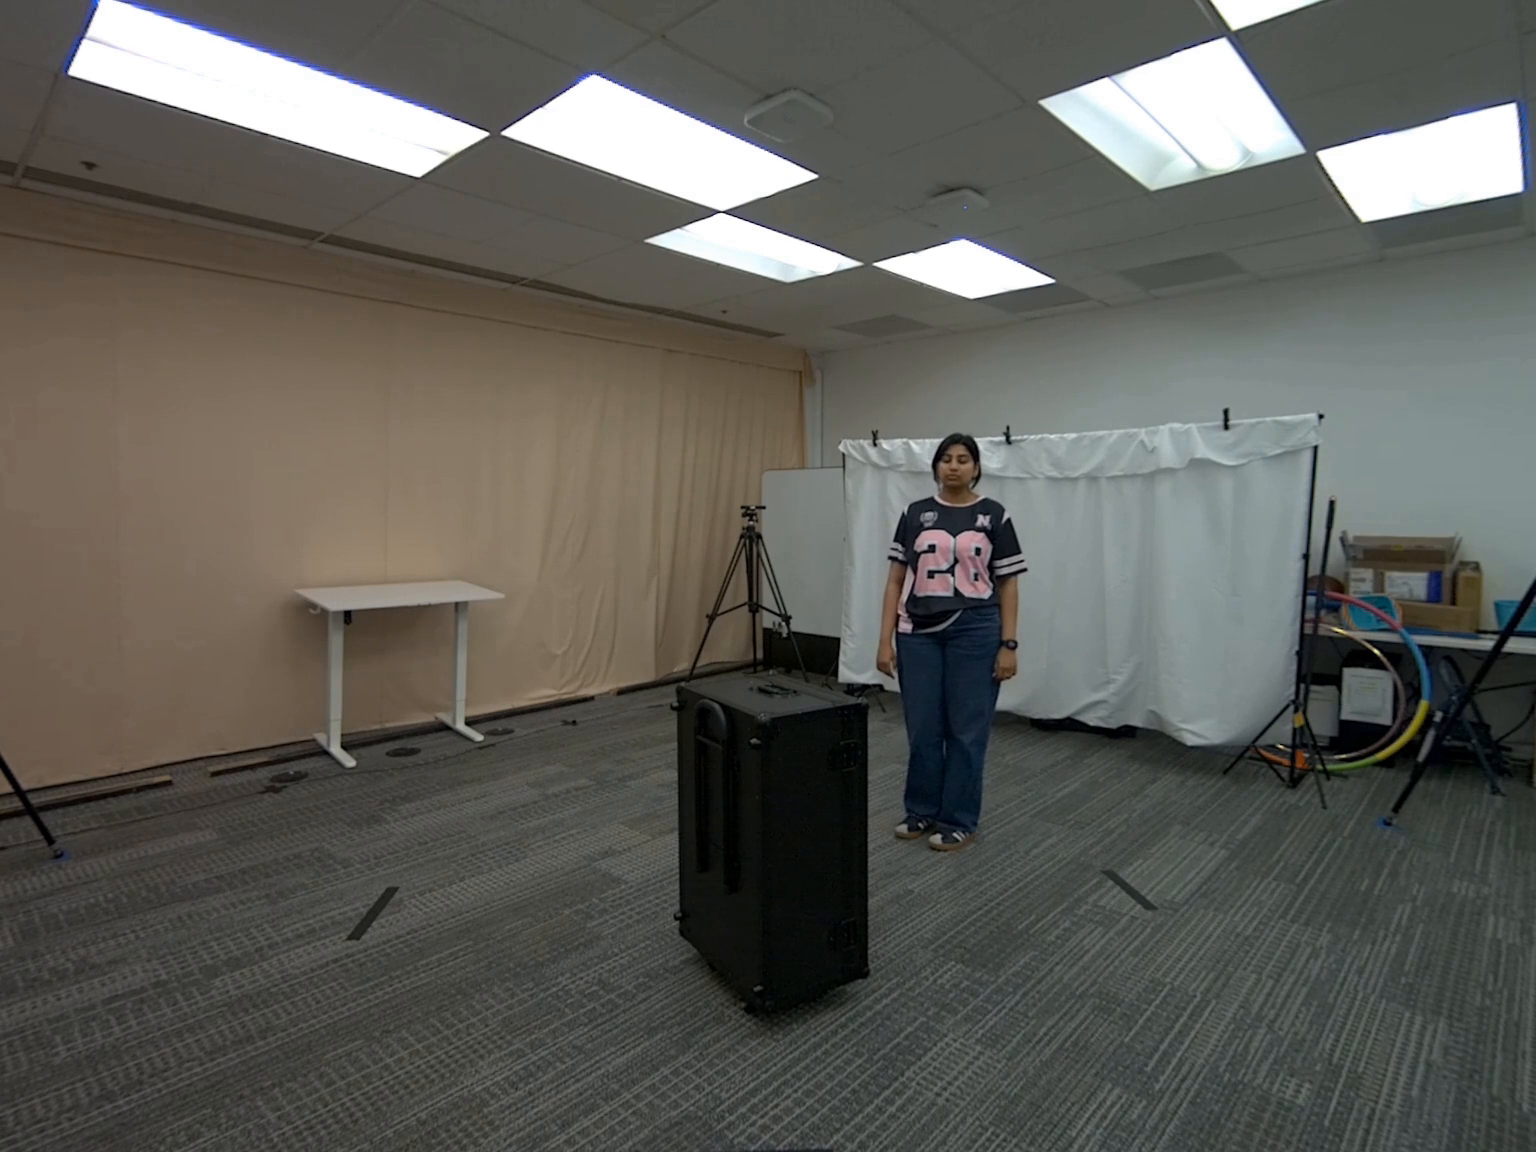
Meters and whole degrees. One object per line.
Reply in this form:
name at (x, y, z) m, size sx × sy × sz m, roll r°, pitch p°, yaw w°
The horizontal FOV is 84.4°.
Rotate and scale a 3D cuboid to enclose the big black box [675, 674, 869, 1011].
big black box at (0.008, 0.766, 2.453) m, size 0.374 × 0.867 × 0.539 m, roll -2°, pitch 4°, yaw -32°
